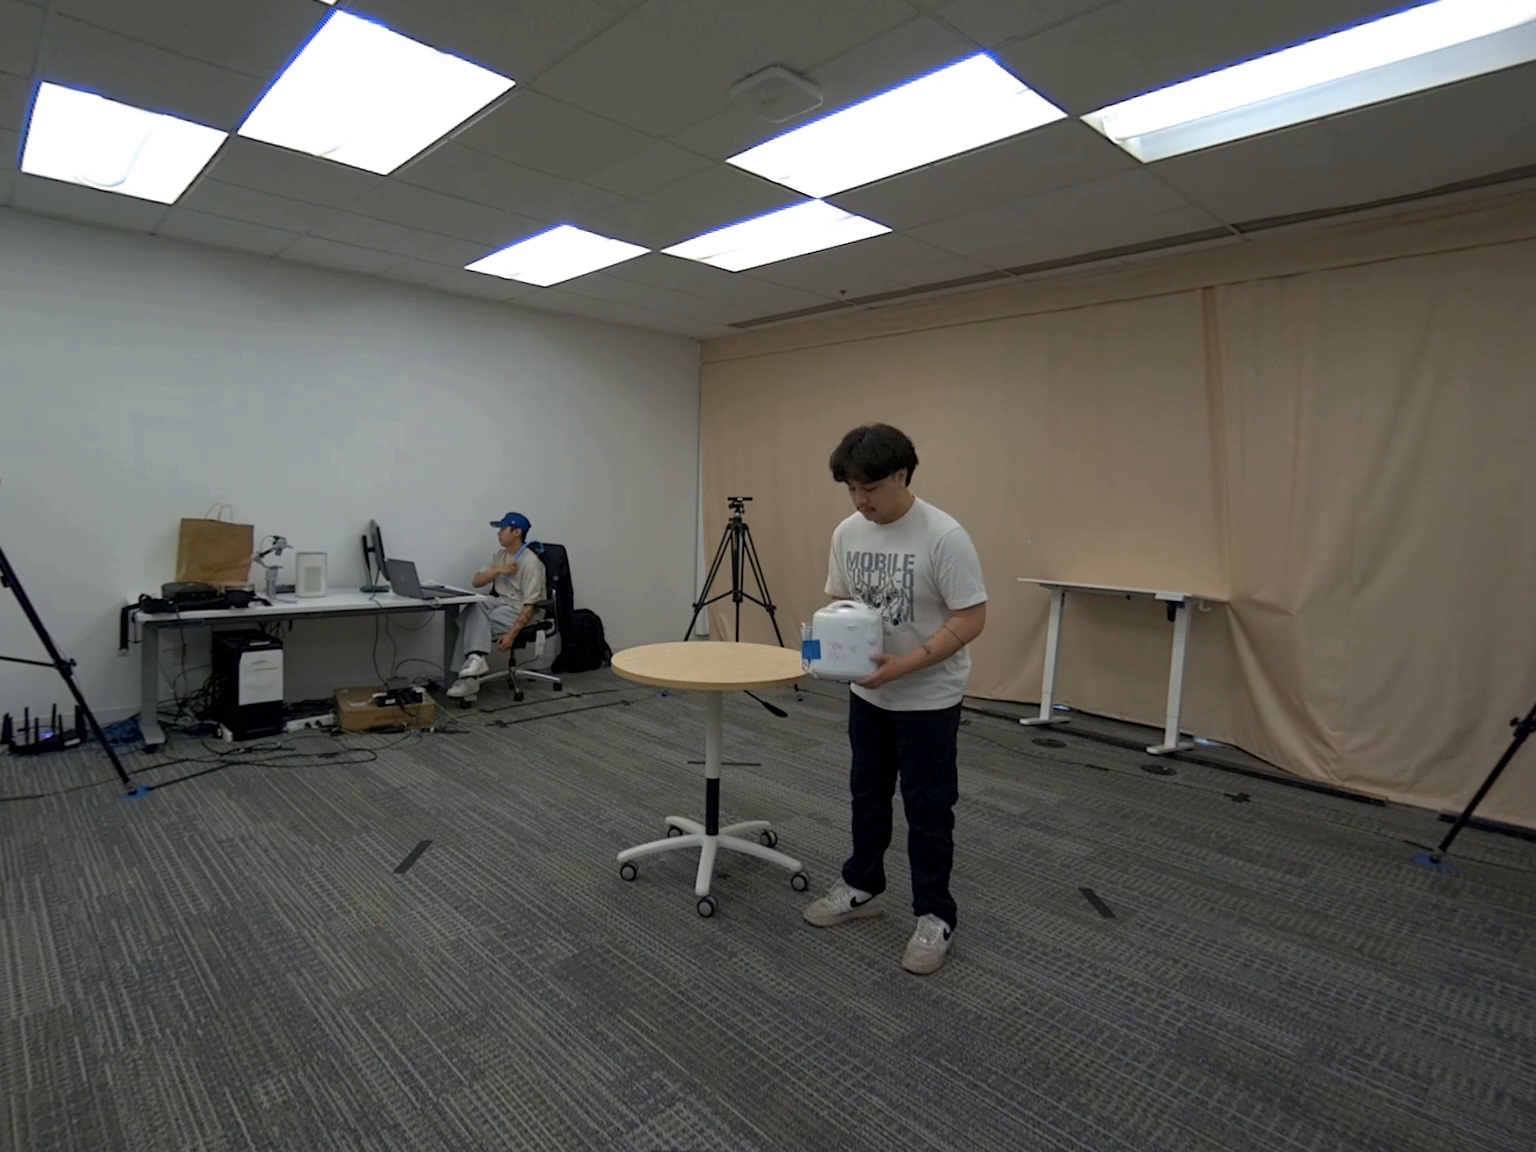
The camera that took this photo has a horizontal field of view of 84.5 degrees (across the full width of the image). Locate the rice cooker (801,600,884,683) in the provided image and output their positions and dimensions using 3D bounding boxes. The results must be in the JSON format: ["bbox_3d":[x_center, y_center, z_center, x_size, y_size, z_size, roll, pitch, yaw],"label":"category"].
[{"bbox_3d":[0.231,0.190,2.511,0.212,0.233,0.226,2,-1,-39],"label":"rice cooker"}]
